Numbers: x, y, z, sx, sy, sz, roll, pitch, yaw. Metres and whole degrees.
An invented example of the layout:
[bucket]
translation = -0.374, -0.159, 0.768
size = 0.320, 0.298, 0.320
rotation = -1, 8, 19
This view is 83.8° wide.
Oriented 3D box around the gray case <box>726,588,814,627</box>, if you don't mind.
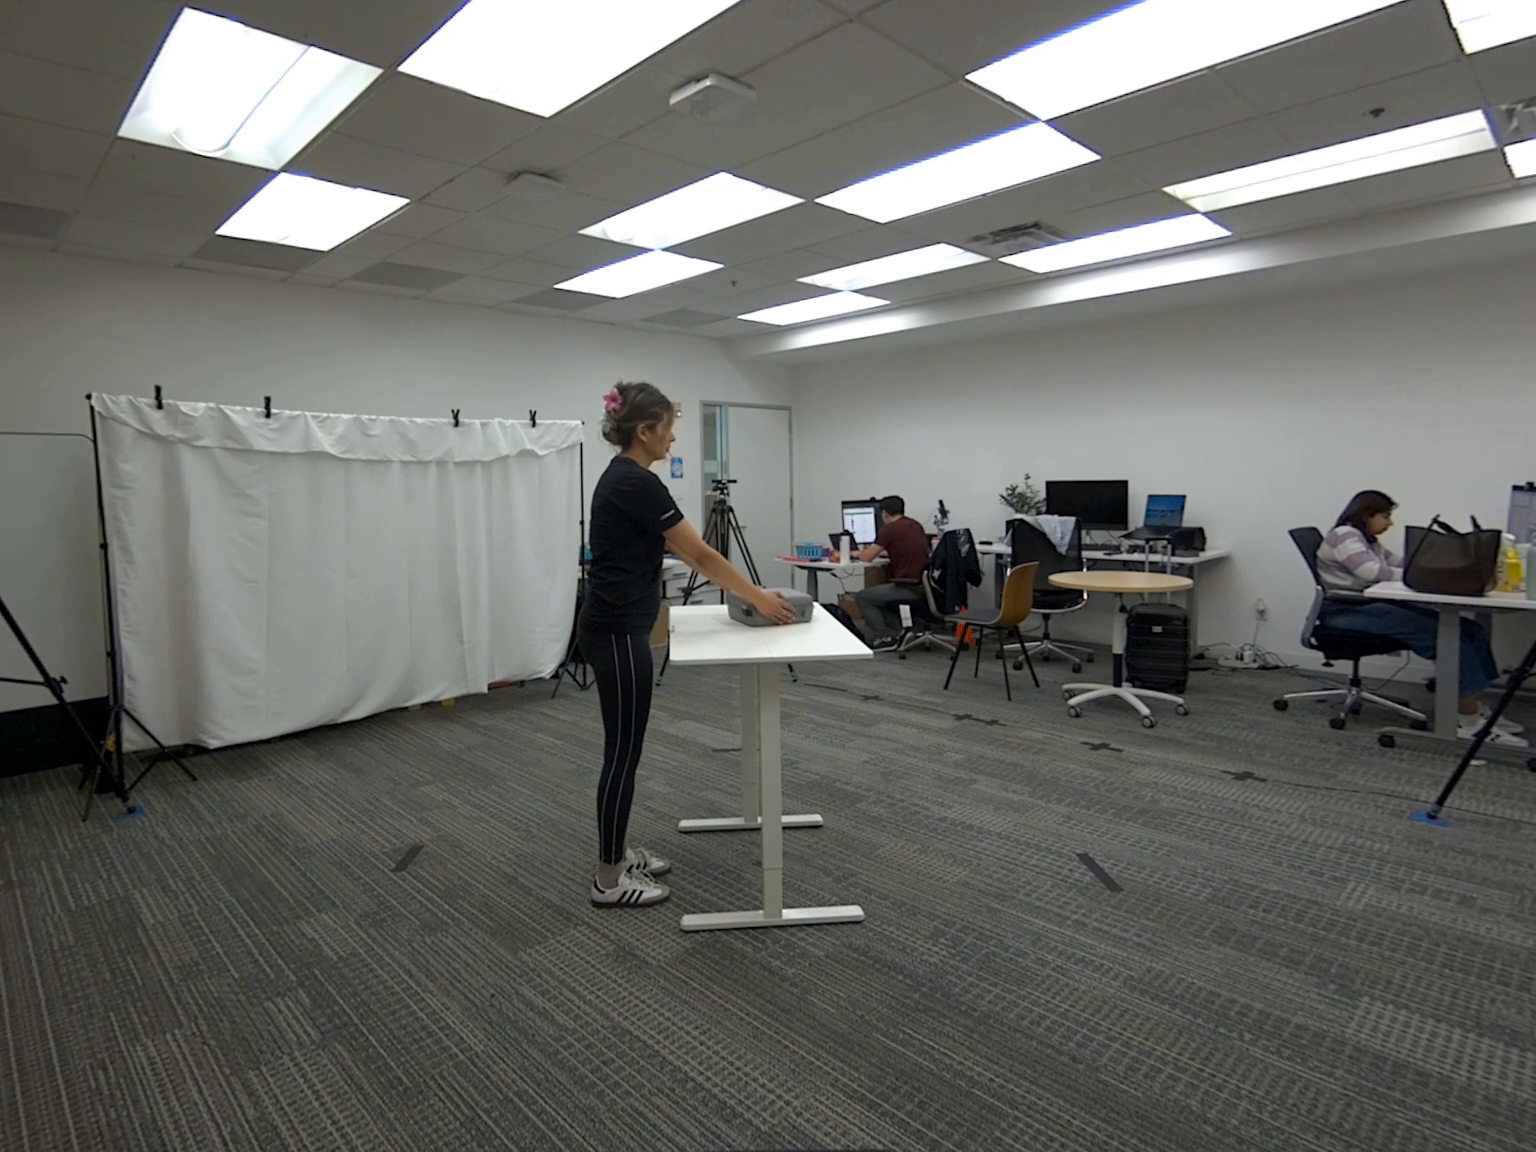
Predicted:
[gray case]
translation = 0.014, 0.110, 3.129
size = 0.256, 0.104, 0.262
rotation = -3, 5, -21
